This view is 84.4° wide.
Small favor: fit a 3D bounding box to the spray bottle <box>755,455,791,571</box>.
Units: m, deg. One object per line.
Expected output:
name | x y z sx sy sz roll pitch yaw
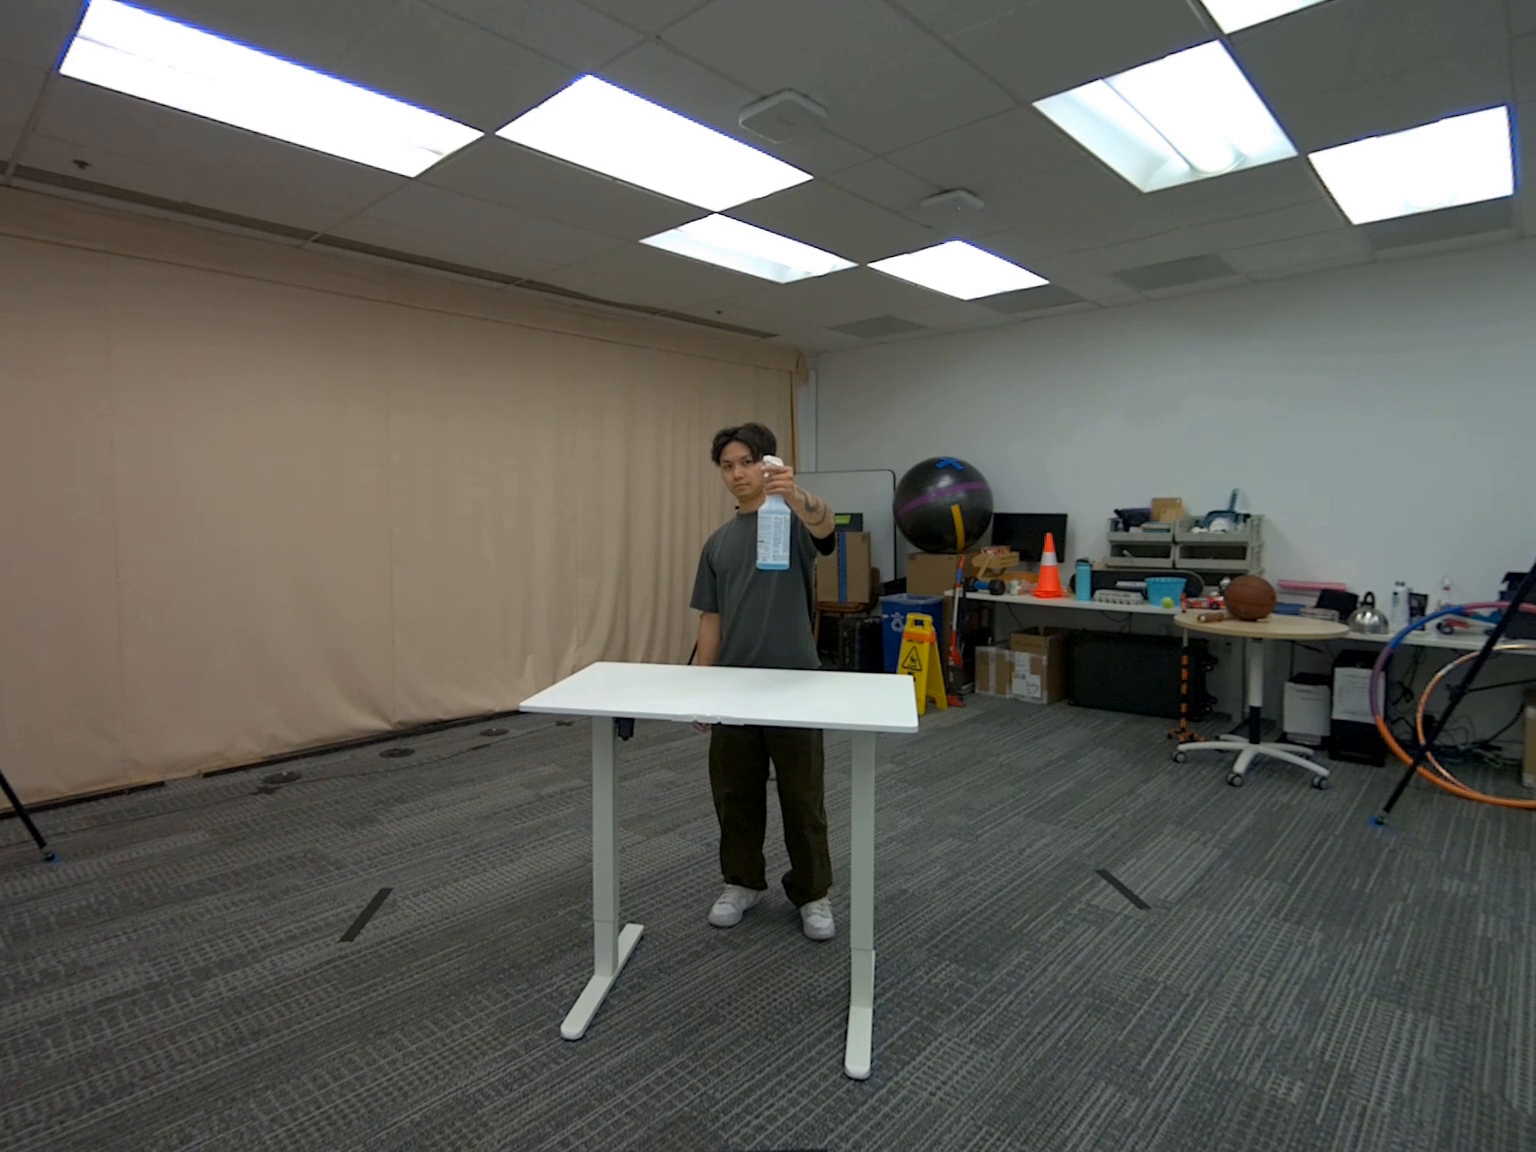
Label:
spray bottle | 0.008 -0.164 2.236 0.087 0.297 0.089 0 0 -32
